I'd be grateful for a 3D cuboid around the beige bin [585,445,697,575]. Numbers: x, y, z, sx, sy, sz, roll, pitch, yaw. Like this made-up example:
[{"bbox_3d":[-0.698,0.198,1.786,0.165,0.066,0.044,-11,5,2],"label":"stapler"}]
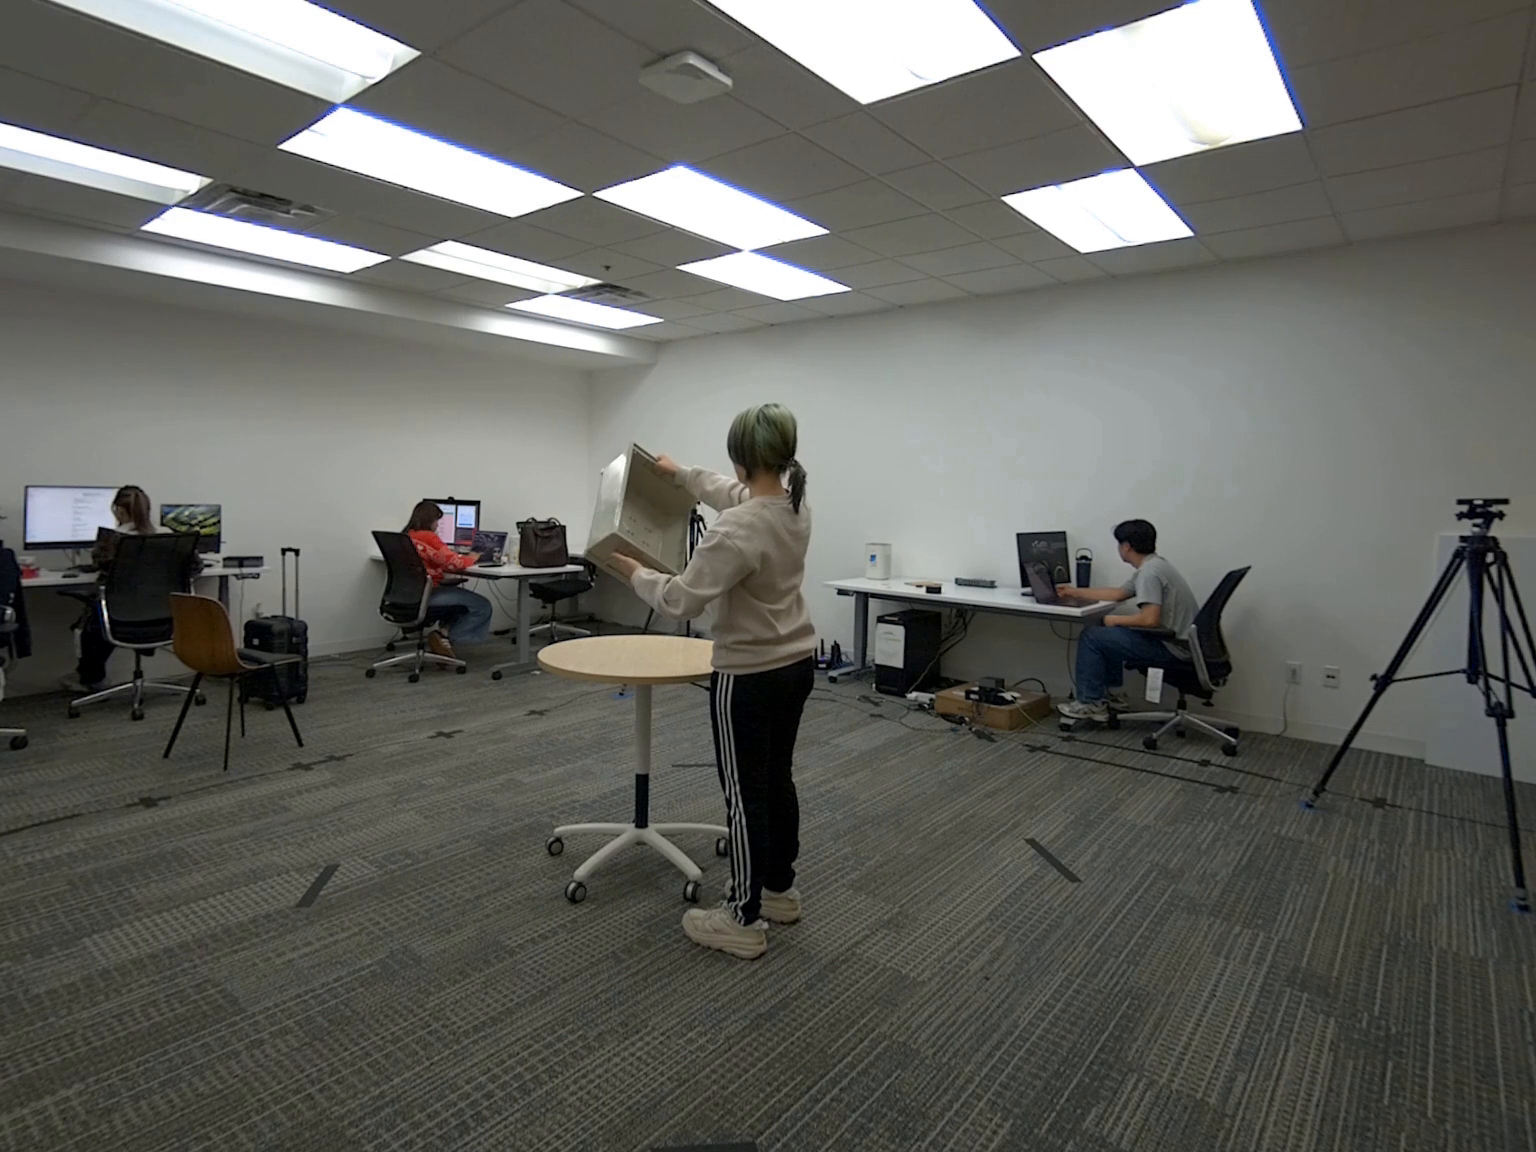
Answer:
[{"bbox_3d":[-0.423,-0.176,2.937,0.364,0.433,0.191,33,-48,-31],"label":"beige bin"}]
